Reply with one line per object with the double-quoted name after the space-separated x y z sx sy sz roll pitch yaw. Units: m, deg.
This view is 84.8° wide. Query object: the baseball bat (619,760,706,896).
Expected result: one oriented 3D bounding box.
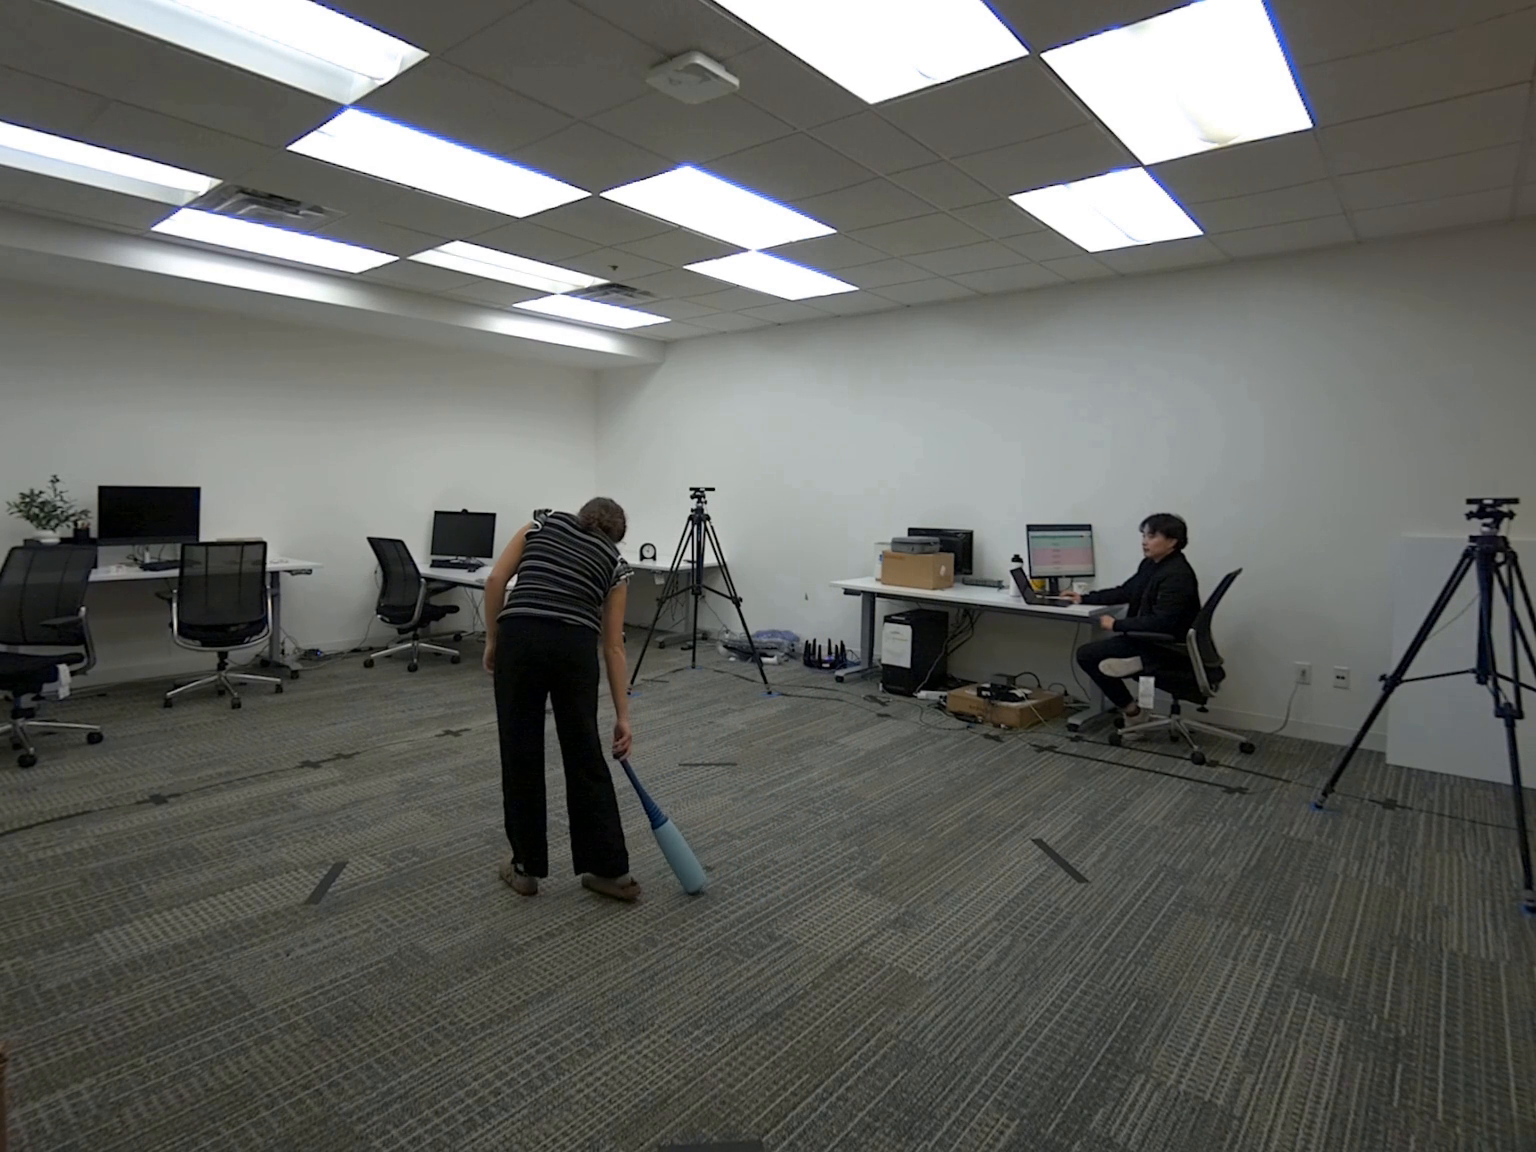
-0.396 0.844 2.928 0.089 0.544 0.089 -31 -2 -2 "baseball bat"
